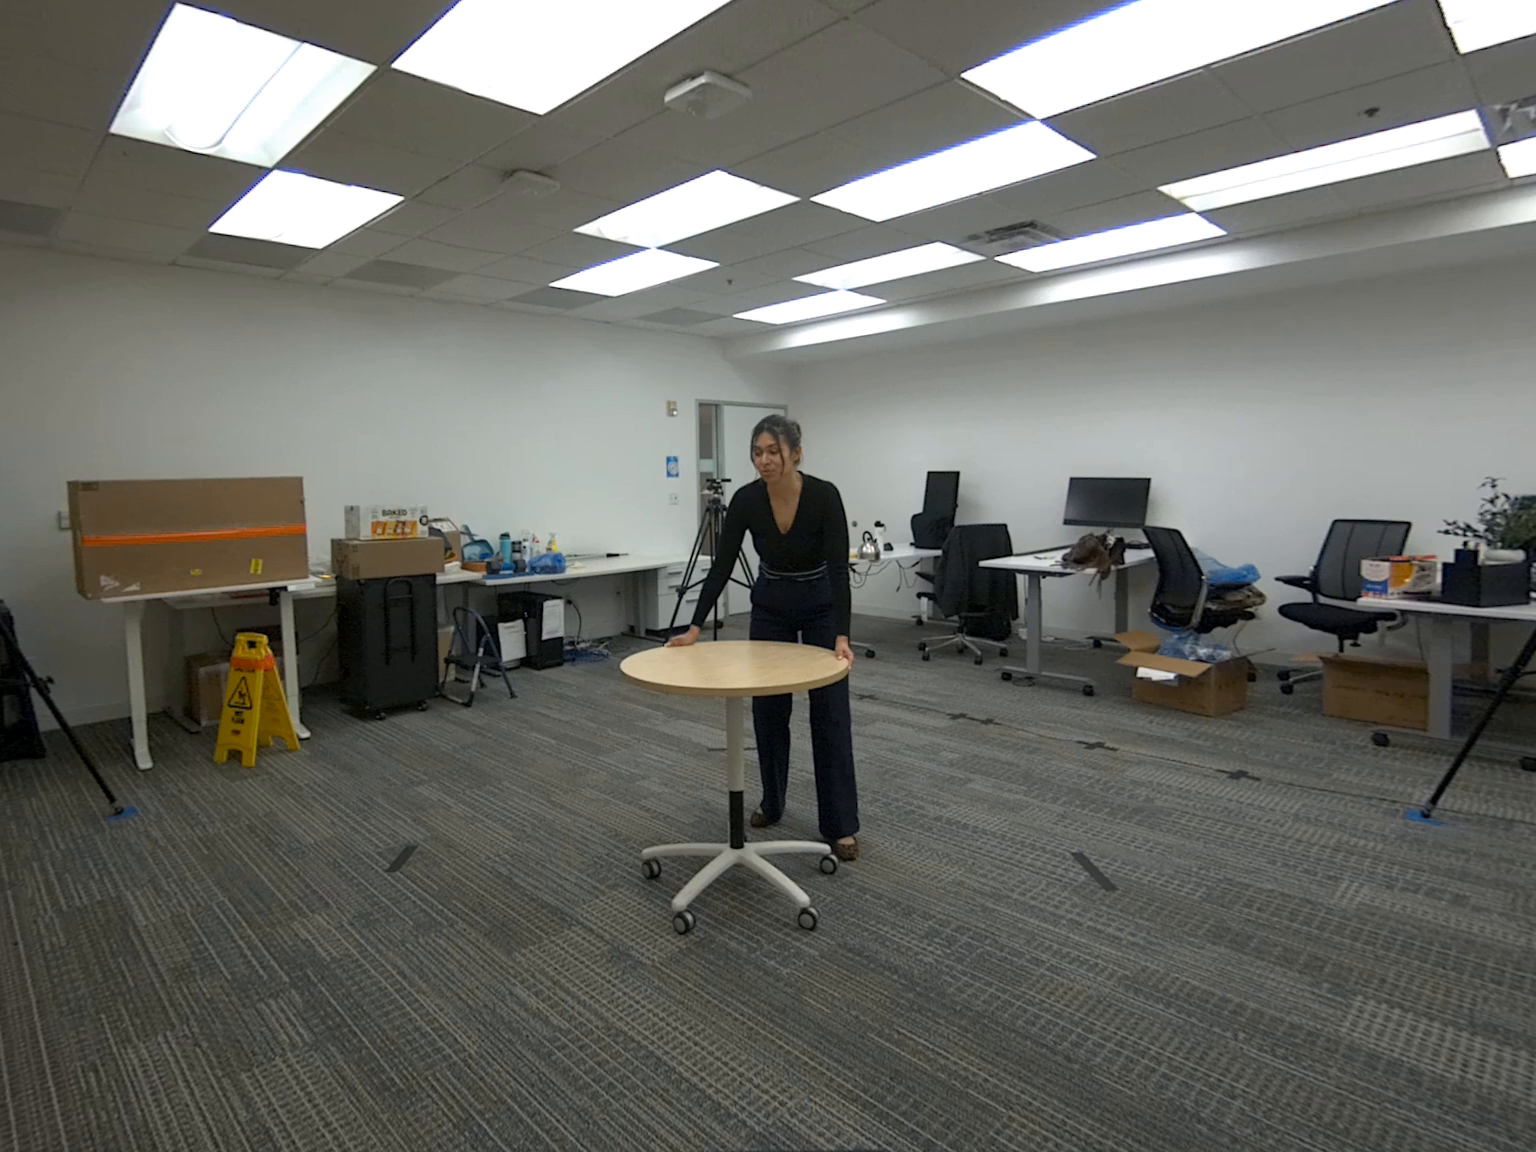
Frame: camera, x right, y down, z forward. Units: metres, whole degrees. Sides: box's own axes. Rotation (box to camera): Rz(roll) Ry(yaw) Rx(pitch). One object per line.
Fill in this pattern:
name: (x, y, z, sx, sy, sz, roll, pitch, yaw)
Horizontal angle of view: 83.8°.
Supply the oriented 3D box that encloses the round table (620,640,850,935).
round table: (-0.101, 0.679, 2.905, 0.763, 0.791, 0.768, -1, 5, -2)
